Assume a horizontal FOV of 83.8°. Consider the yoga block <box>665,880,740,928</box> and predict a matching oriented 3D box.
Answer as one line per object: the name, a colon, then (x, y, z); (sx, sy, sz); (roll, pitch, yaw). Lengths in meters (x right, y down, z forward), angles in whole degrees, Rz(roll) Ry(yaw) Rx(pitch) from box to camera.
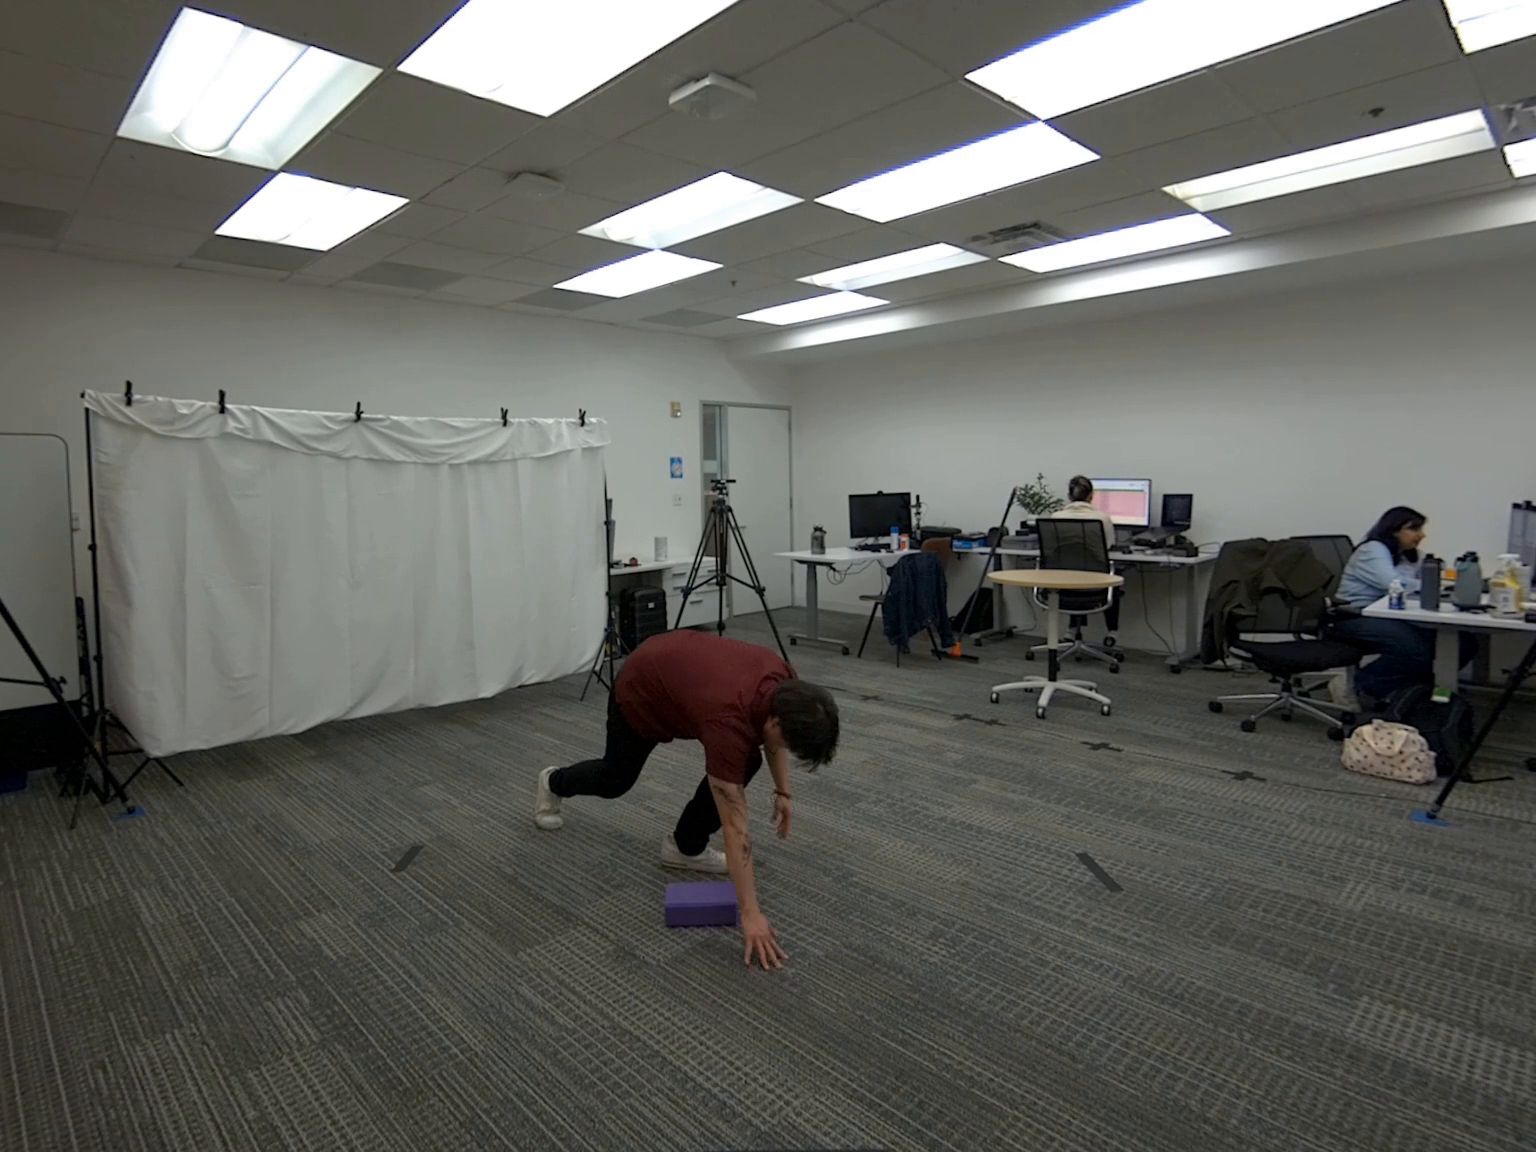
yoga block: (-0.216, 1.055, 2.747); (0.229, 0.076, 0.150); (-2, 6, -2)
